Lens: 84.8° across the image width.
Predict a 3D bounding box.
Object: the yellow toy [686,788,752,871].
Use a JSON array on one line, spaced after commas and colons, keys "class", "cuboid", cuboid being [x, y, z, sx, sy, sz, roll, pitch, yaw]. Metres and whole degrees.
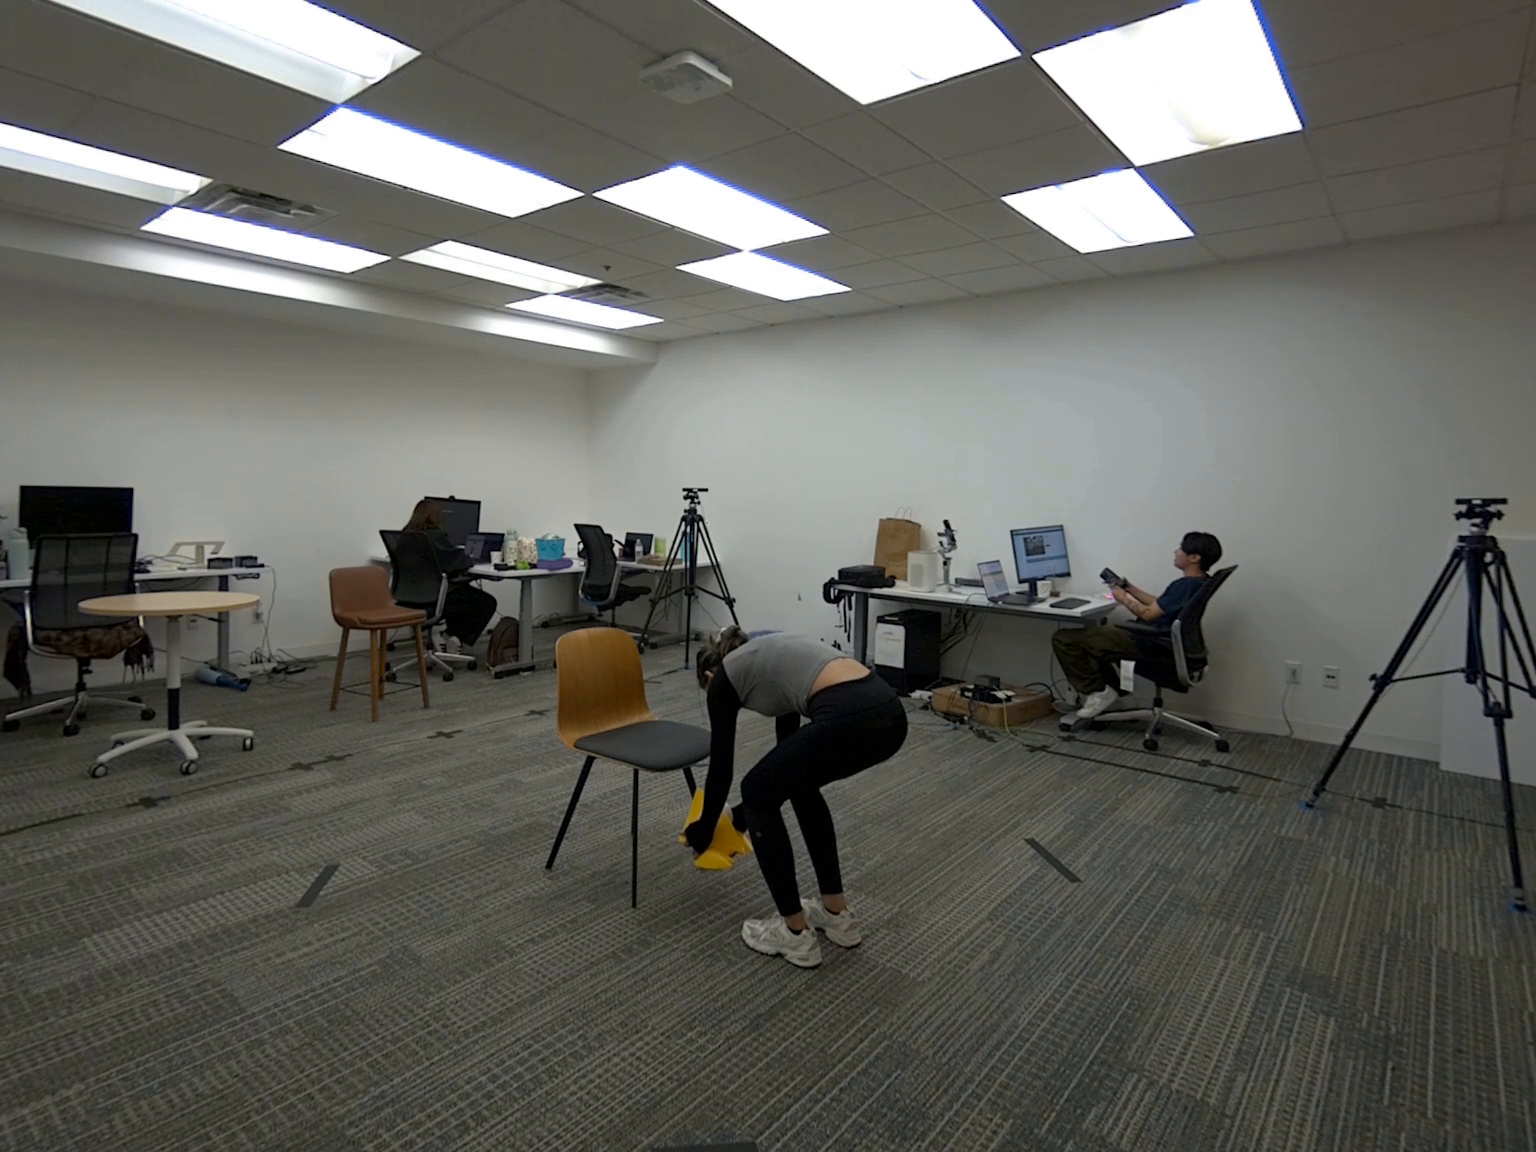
[{"class": "yellow toy", "cuboid": [-0.188, 0.837, 2.896, 0.198, 0.230, 0.200, -6, 3, 33]}]
